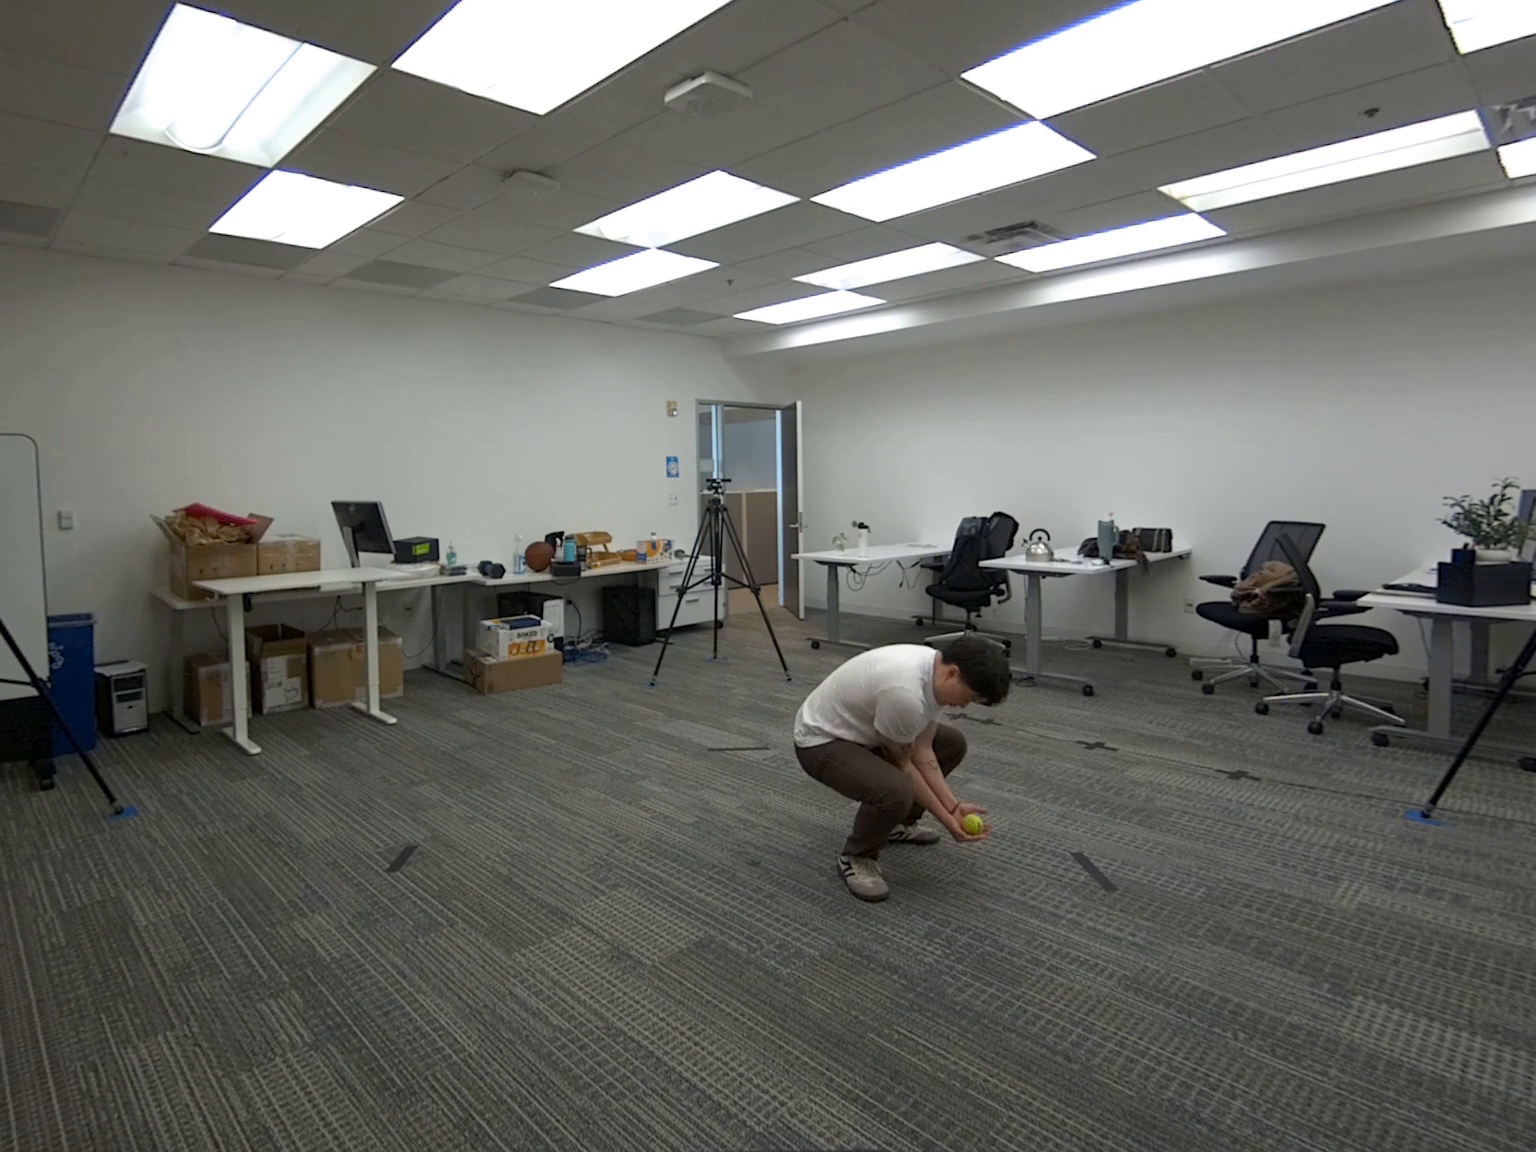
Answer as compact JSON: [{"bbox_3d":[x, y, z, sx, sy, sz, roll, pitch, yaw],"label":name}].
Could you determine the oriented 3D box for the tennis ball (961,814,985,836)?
[{"bbox_3d":[0.686,0.862,2.942,0.066,0.066,0.067,-1,5,-2],"label":"tennis ball"}]
